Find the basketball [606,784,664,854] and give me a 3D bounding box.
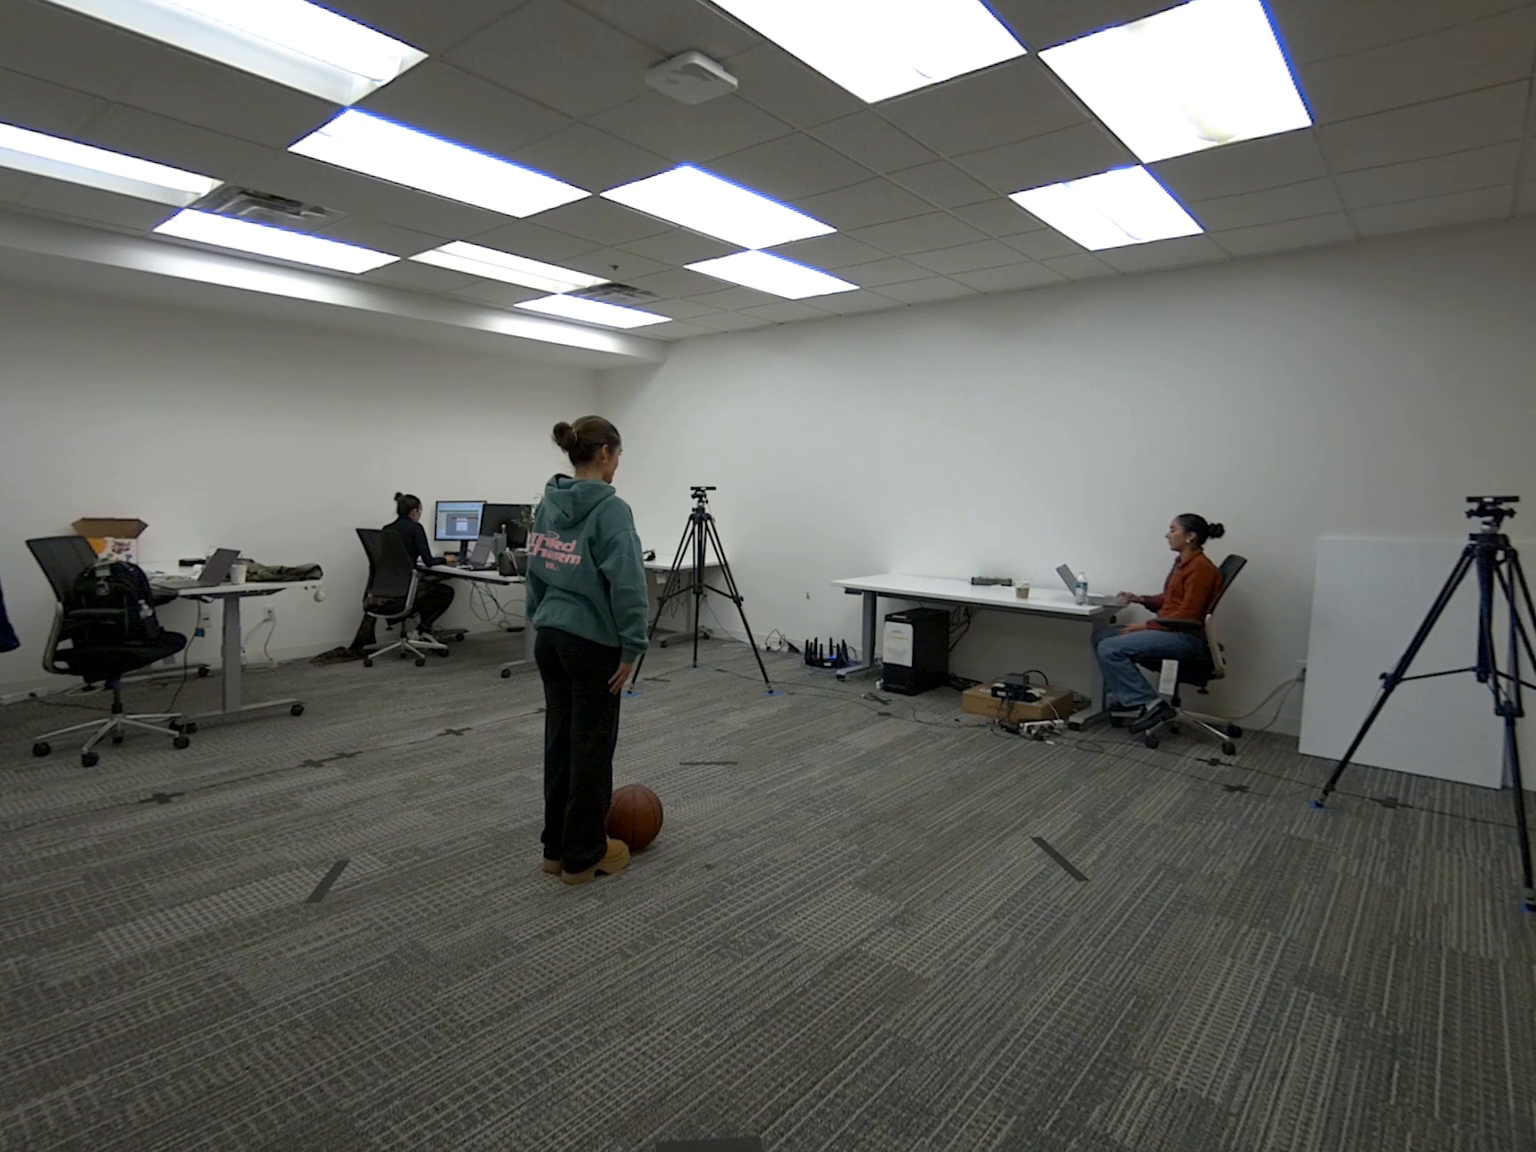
[{"bbox_3d":[-0.533,0.924,3.285,0.235,0.235,0.237,1,4,-2],"label":"basketball"}]
